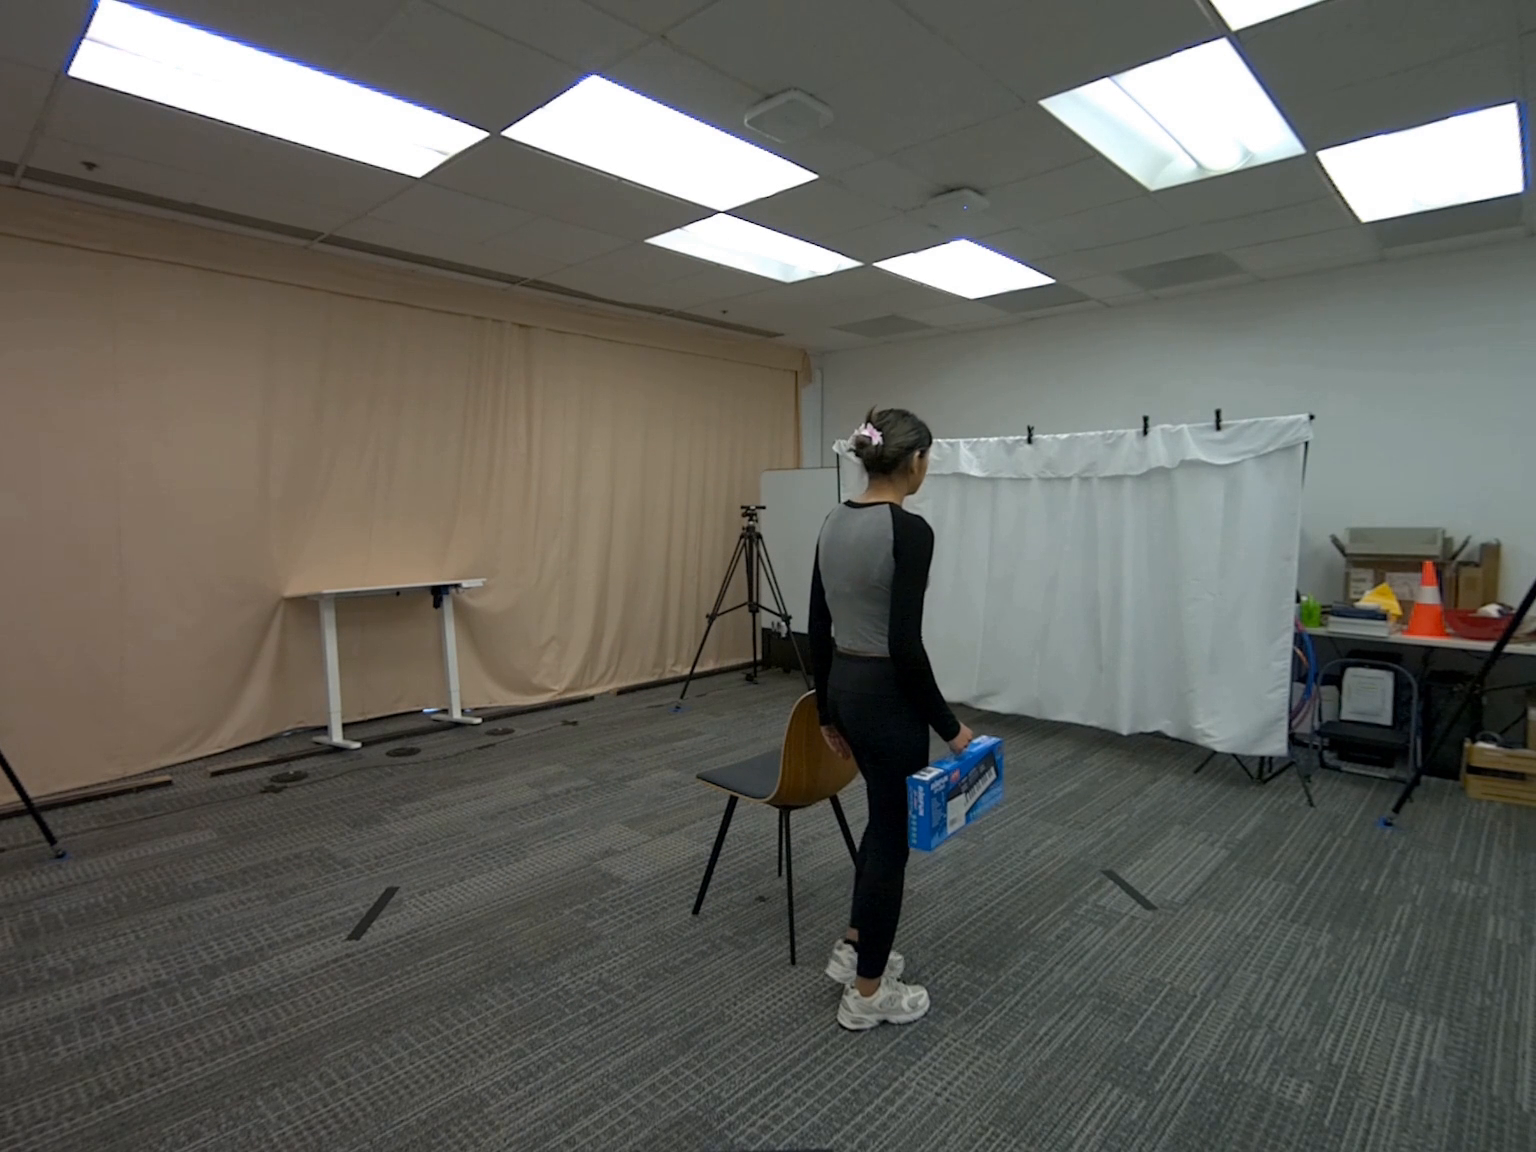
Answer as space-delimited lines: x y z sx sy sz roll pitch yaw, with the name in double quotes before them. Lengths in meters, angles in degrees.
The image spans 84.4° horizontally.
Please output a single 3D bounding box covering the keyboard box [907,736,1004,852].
"keyboard box" 0.494 0.555 2.179 0.061 0.175 0.424 2 6 41
